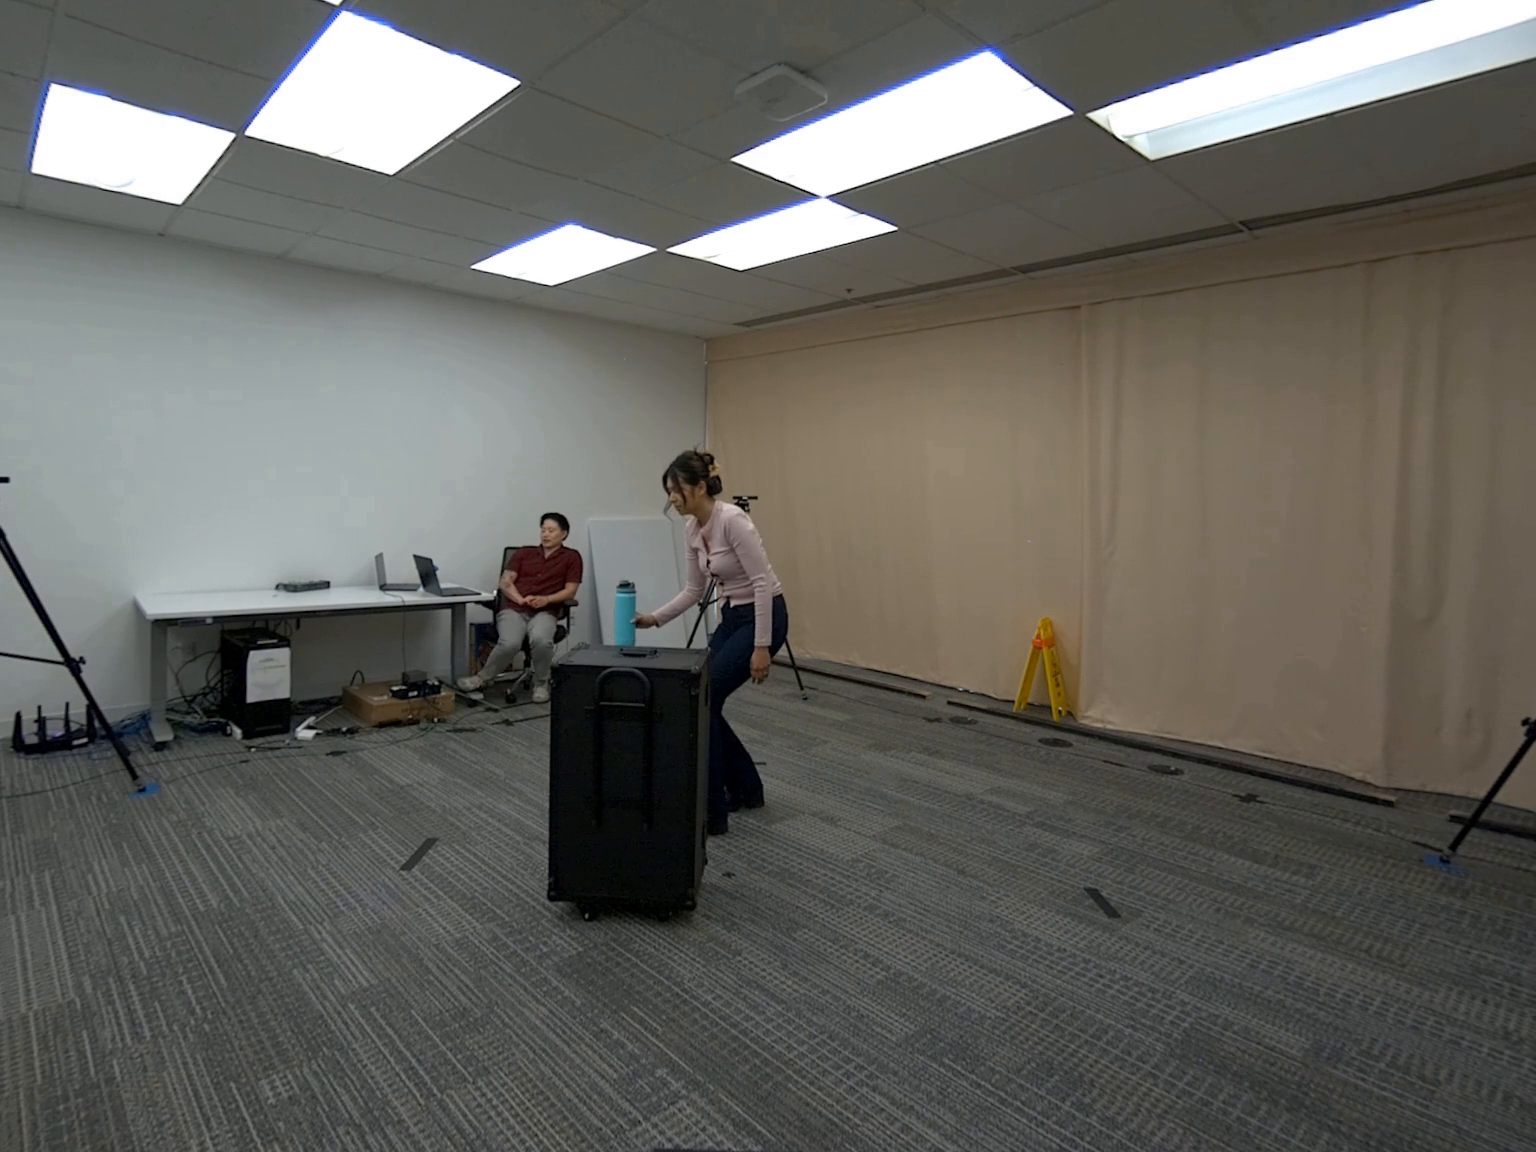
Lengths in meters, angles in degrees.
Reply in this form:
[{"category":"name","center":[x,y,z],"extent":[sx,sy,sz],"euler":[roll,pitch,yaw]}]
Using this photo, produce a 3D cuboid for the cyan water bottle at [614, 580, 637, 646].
[{"category":"cyan water bottle","center":[-0.616,0.159,3.619],"extent":[0.092,0.283,0.092],"euler":[1,0,-1]}]
